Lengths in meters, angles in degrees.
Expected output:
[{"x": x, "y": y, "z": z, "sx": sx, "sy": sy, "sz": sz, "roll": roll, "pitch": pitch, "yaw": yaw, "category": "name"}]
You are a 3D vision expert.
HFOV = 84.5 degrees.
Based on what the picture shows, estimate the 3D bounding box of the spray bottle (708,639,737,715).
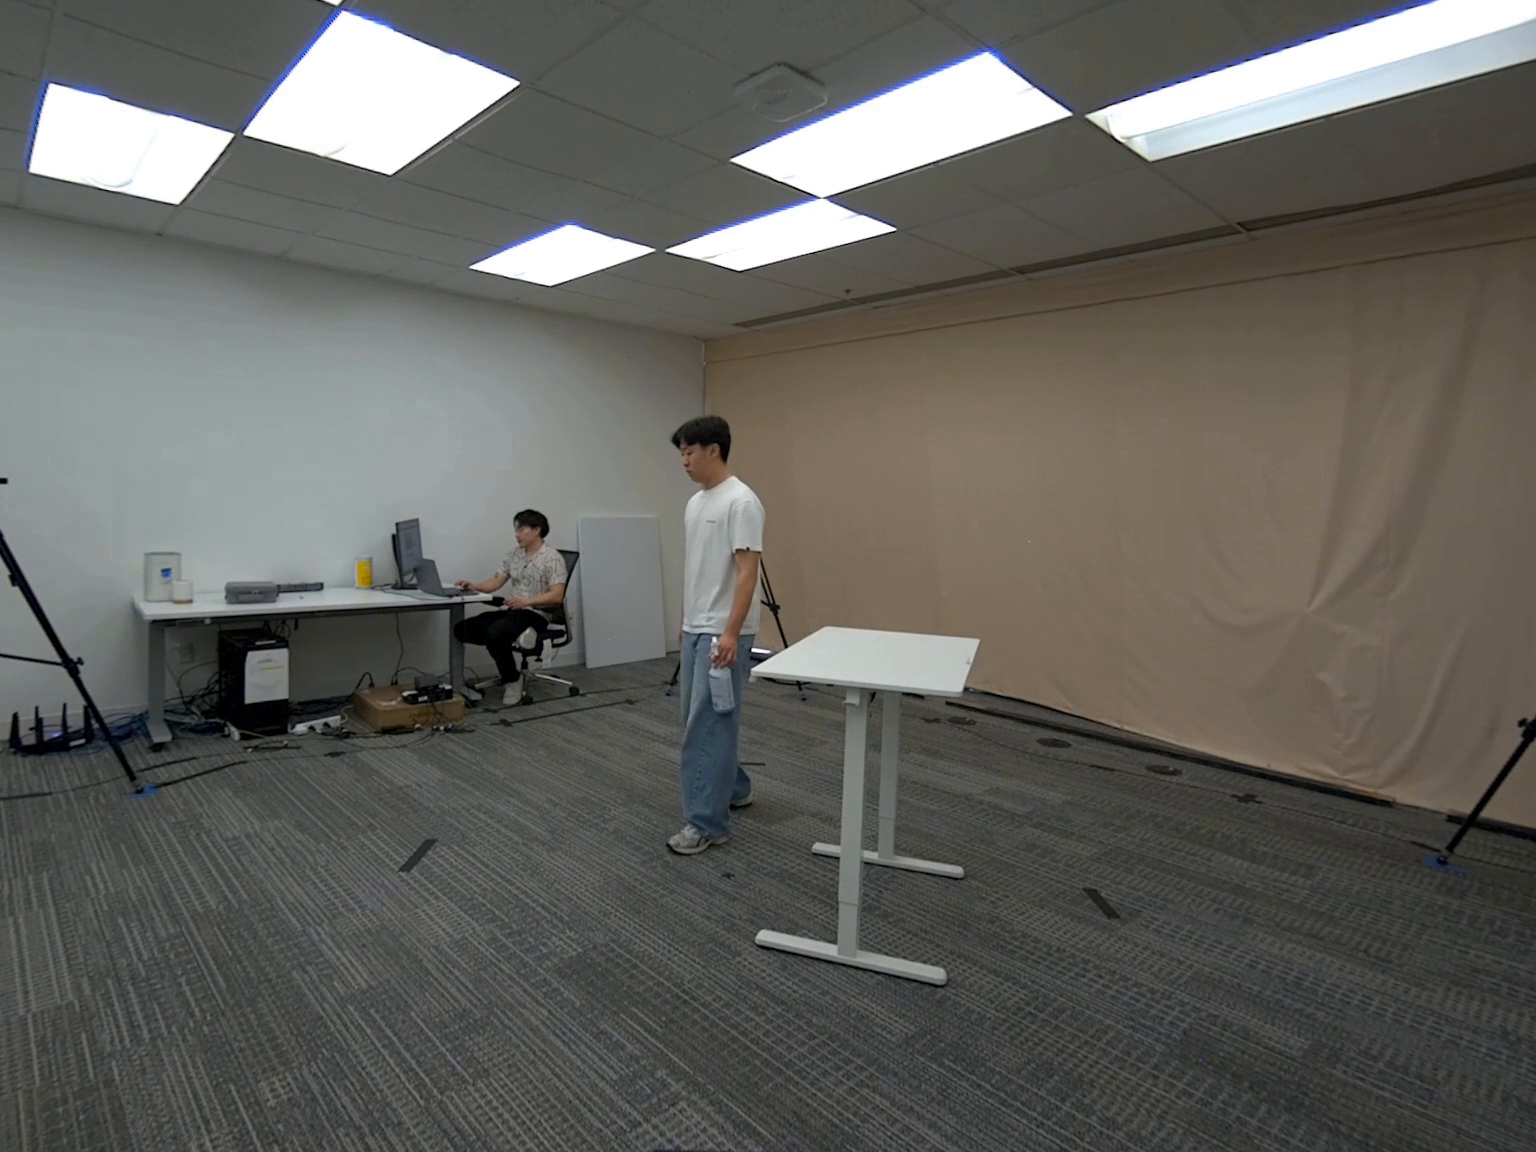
[{"x": -0.187, "y": 0.379, "z": 3.264, "sx": 0.088, "sy": 0.294, "sz": 0.089, "roll": -3, "pitch": 12, "yaw": 22, "category": "spray bottle"}]
